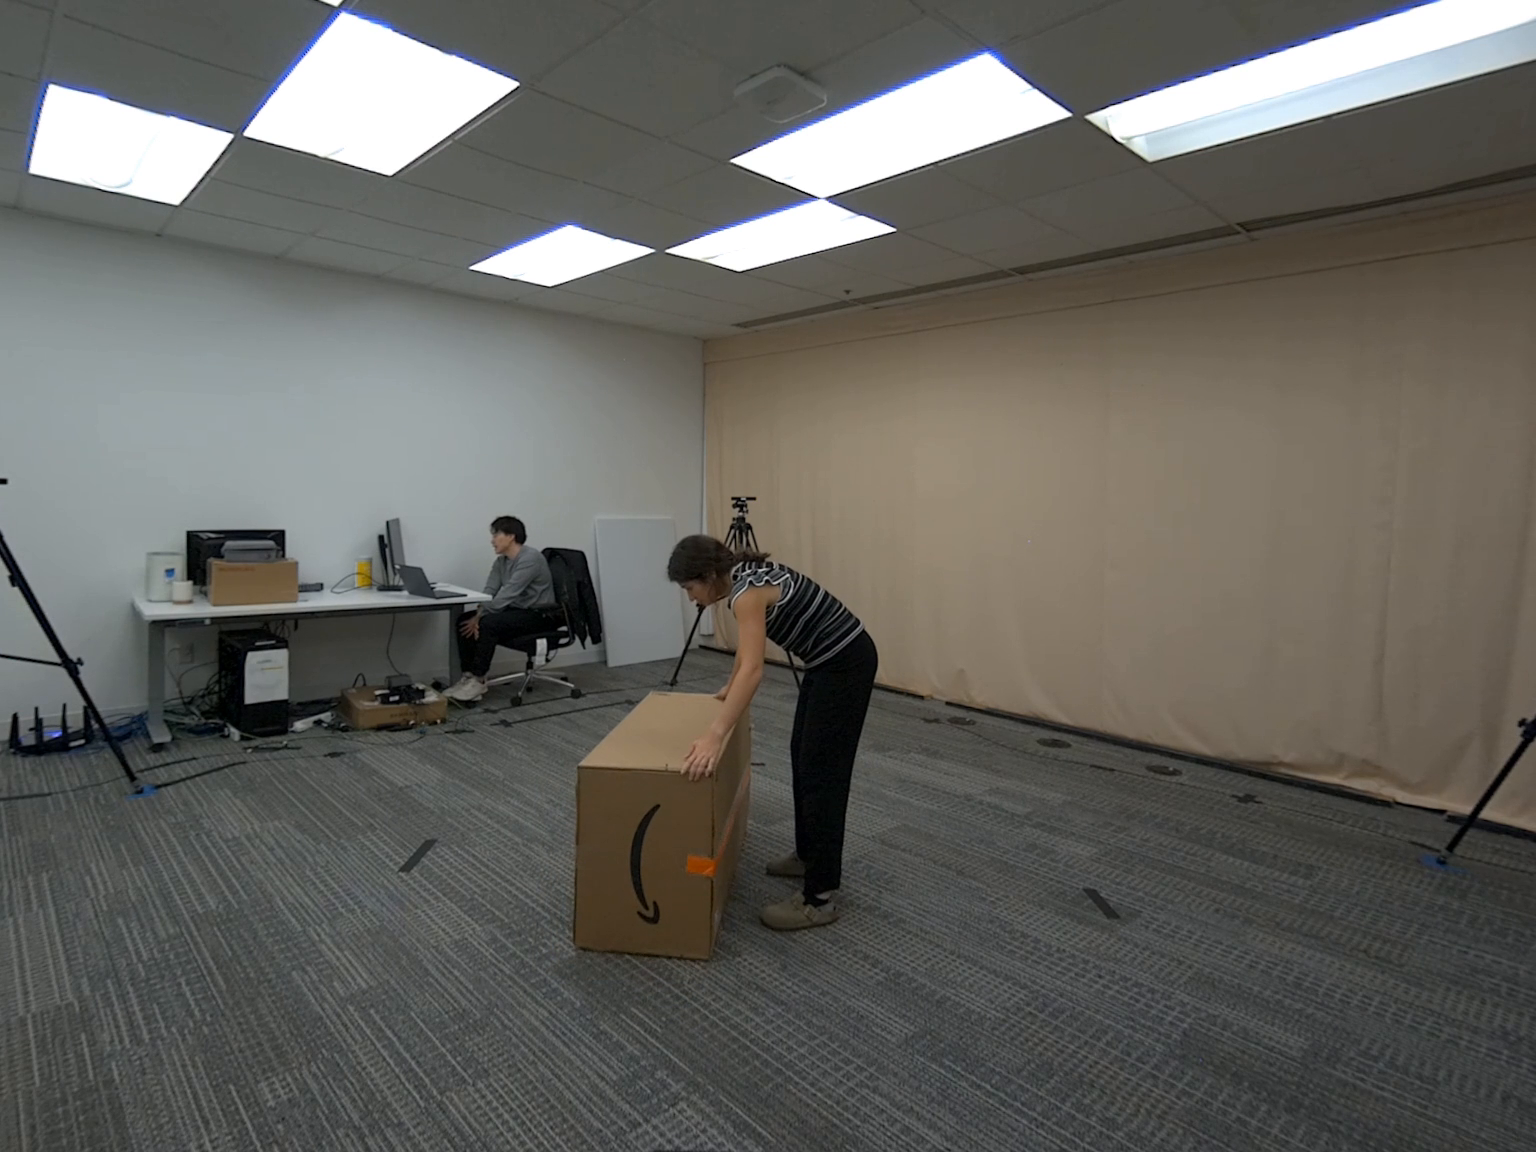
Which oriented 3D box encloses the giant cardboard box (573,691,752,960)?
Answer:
[{"bbox_3d":[-0.344,0.818,3.033,0.428,0.576,1.024,2,5,5],"label":"giant cardboard box"}]
